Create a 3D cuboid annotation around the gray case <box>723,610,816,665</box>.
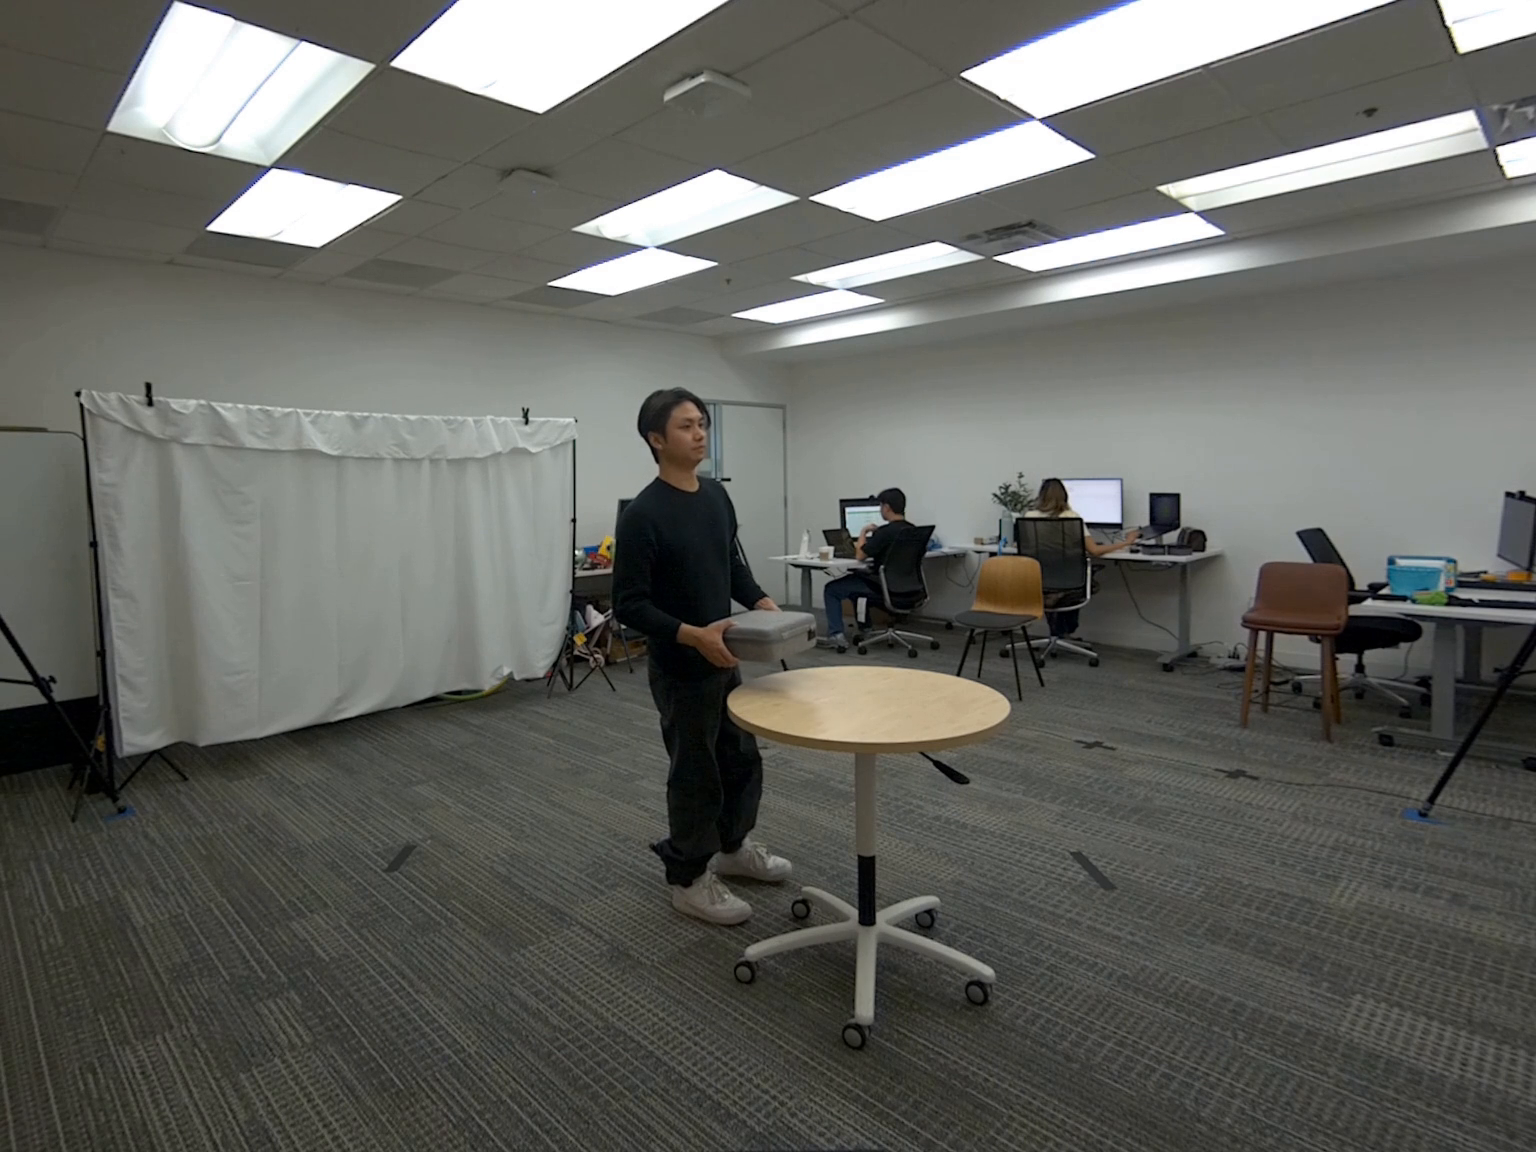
[{"bbox_3d":[-0.021,0.176,2.546,0.268,0.104,0.251,2,10,40],"label":"gray case"}]
